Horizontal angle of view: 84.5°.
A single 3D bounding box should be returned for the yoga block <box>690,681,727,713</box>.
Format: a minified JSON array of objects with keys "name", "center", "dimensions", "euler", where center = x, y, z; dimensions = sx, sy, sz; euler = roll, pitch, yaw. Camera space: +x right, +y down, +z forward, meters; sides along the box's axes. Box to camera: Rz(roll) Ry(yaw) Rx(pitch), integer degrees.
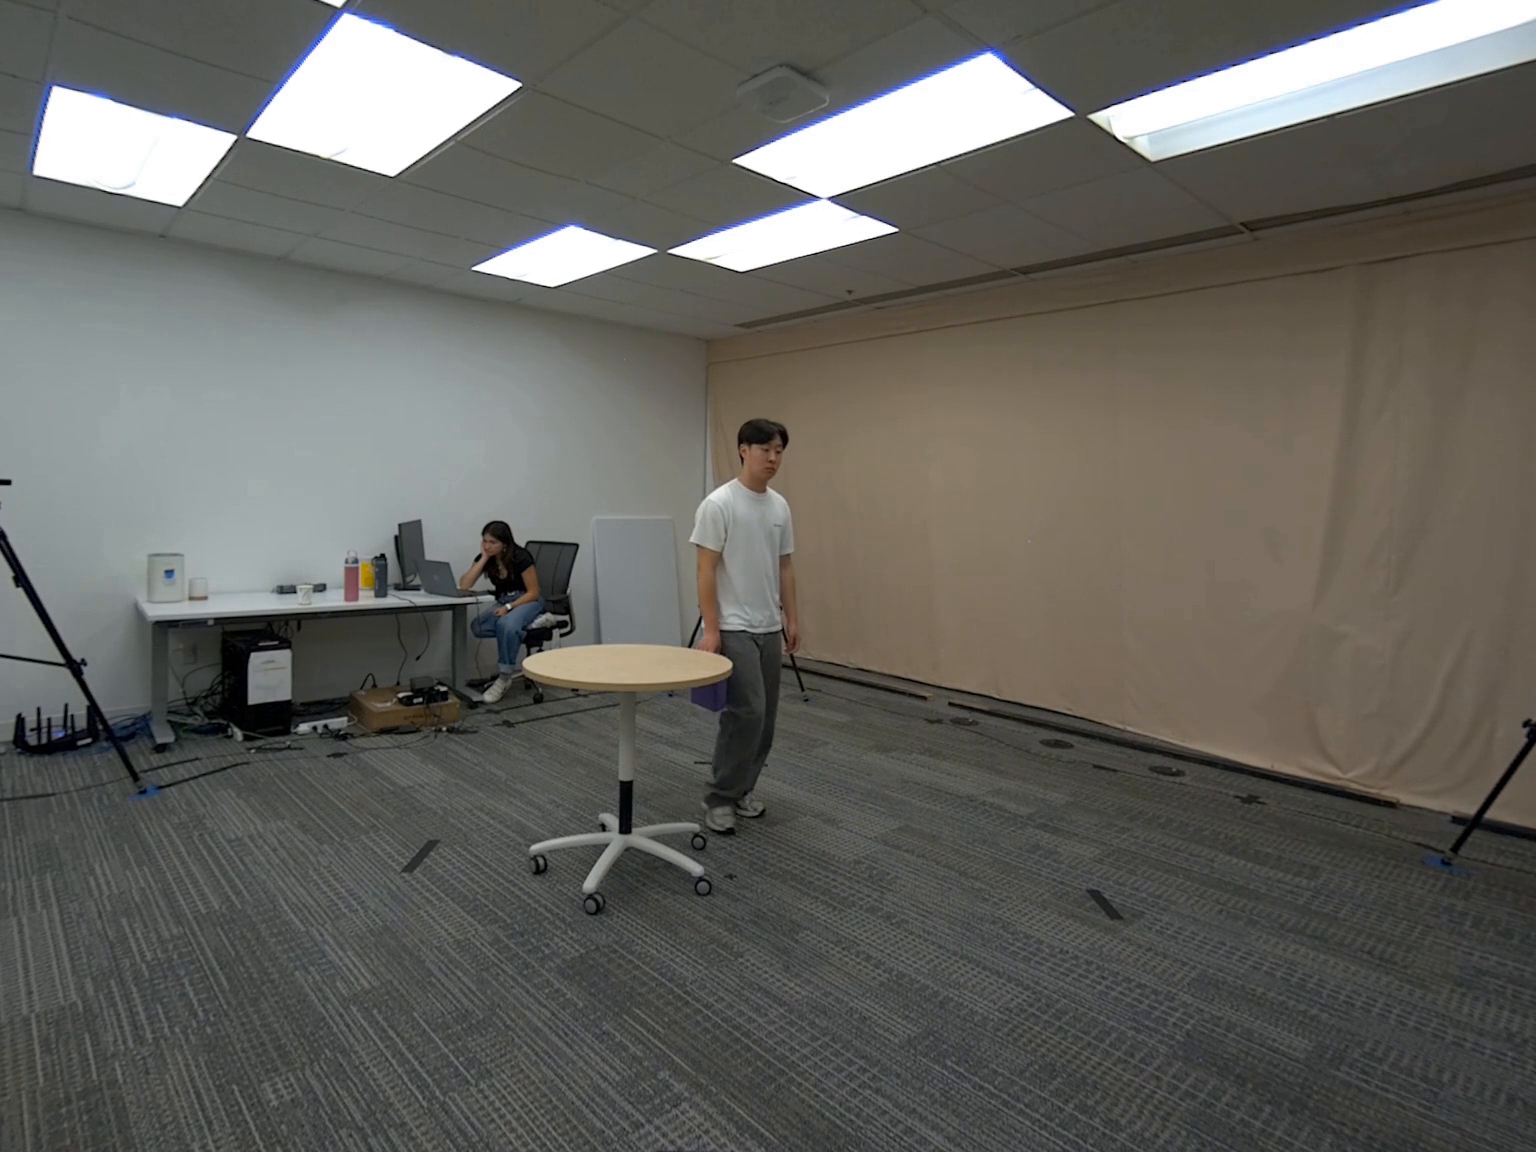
[{"name":"yoga block","center":[-0.260,0.440,3.495],"dimensions":[0.153,0.227,0.075],"euler":[14,17,37]}]
